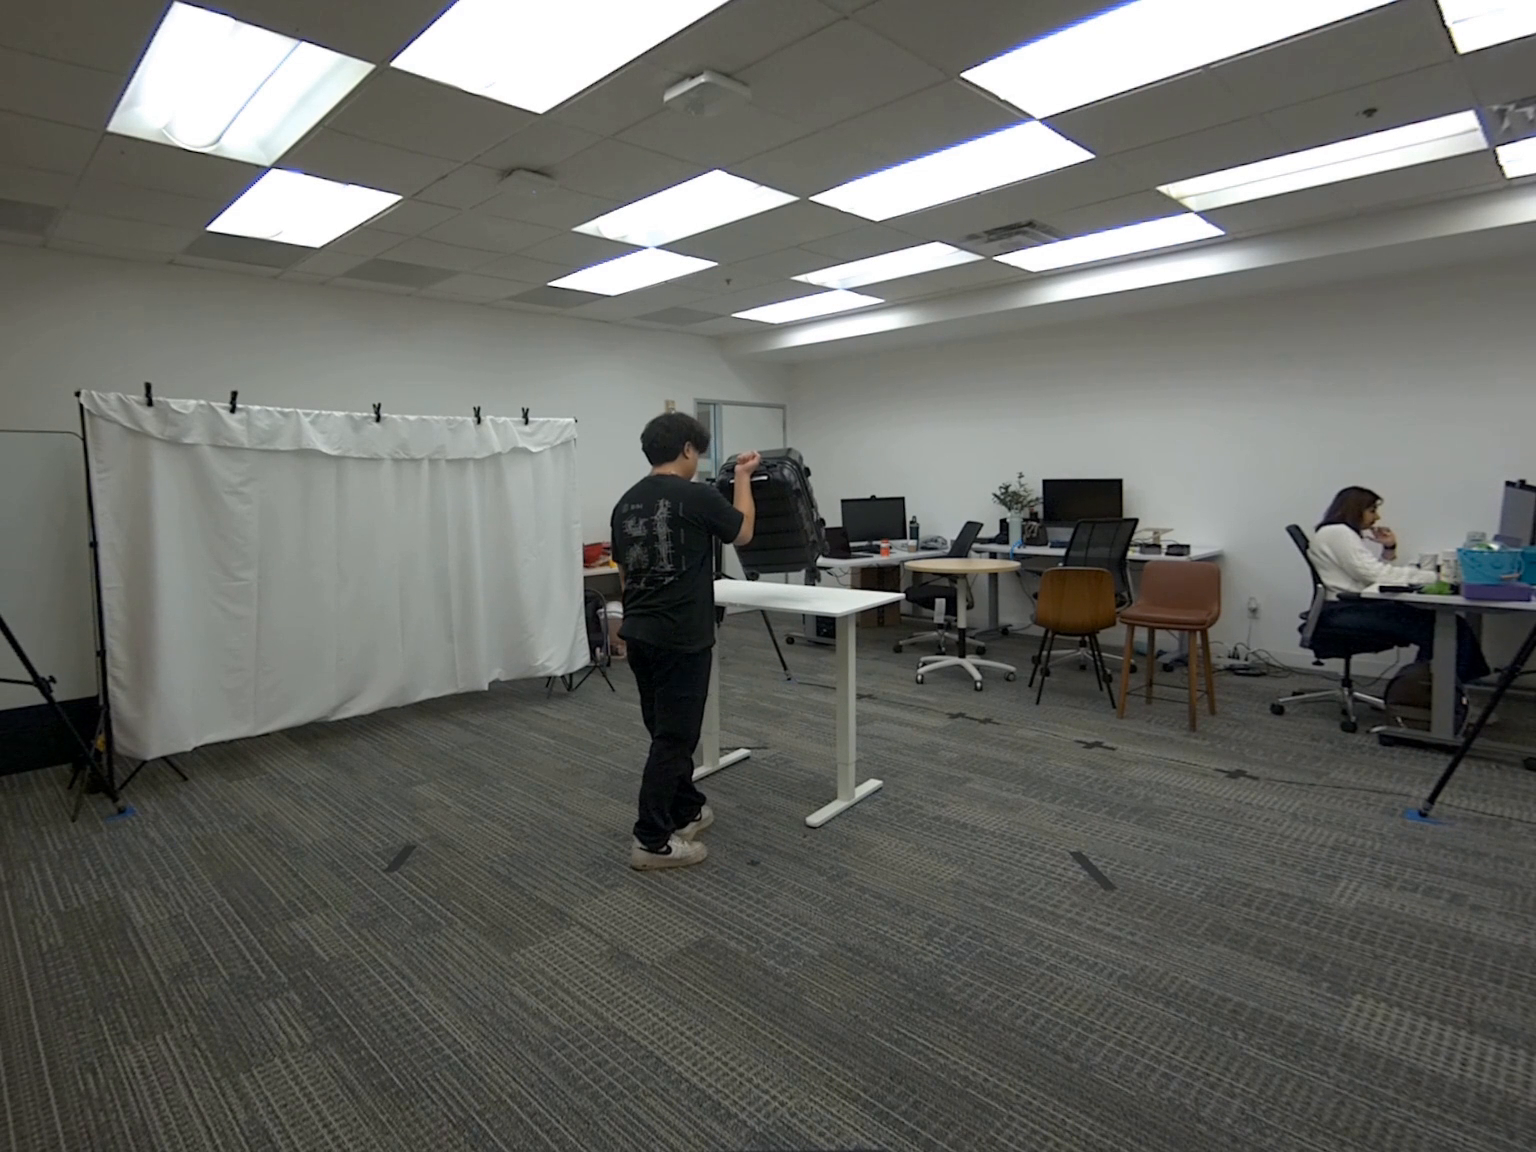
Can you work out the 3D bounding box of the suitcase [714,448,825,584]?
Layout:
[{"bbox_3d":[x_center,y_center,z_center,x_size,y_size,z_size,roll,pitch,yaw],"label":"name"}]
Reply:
[{"bbox_3d":[0.024,-0.257,3.580,0.383,0.532,0.251,-3,37,22],"label":"suitcase"}]
